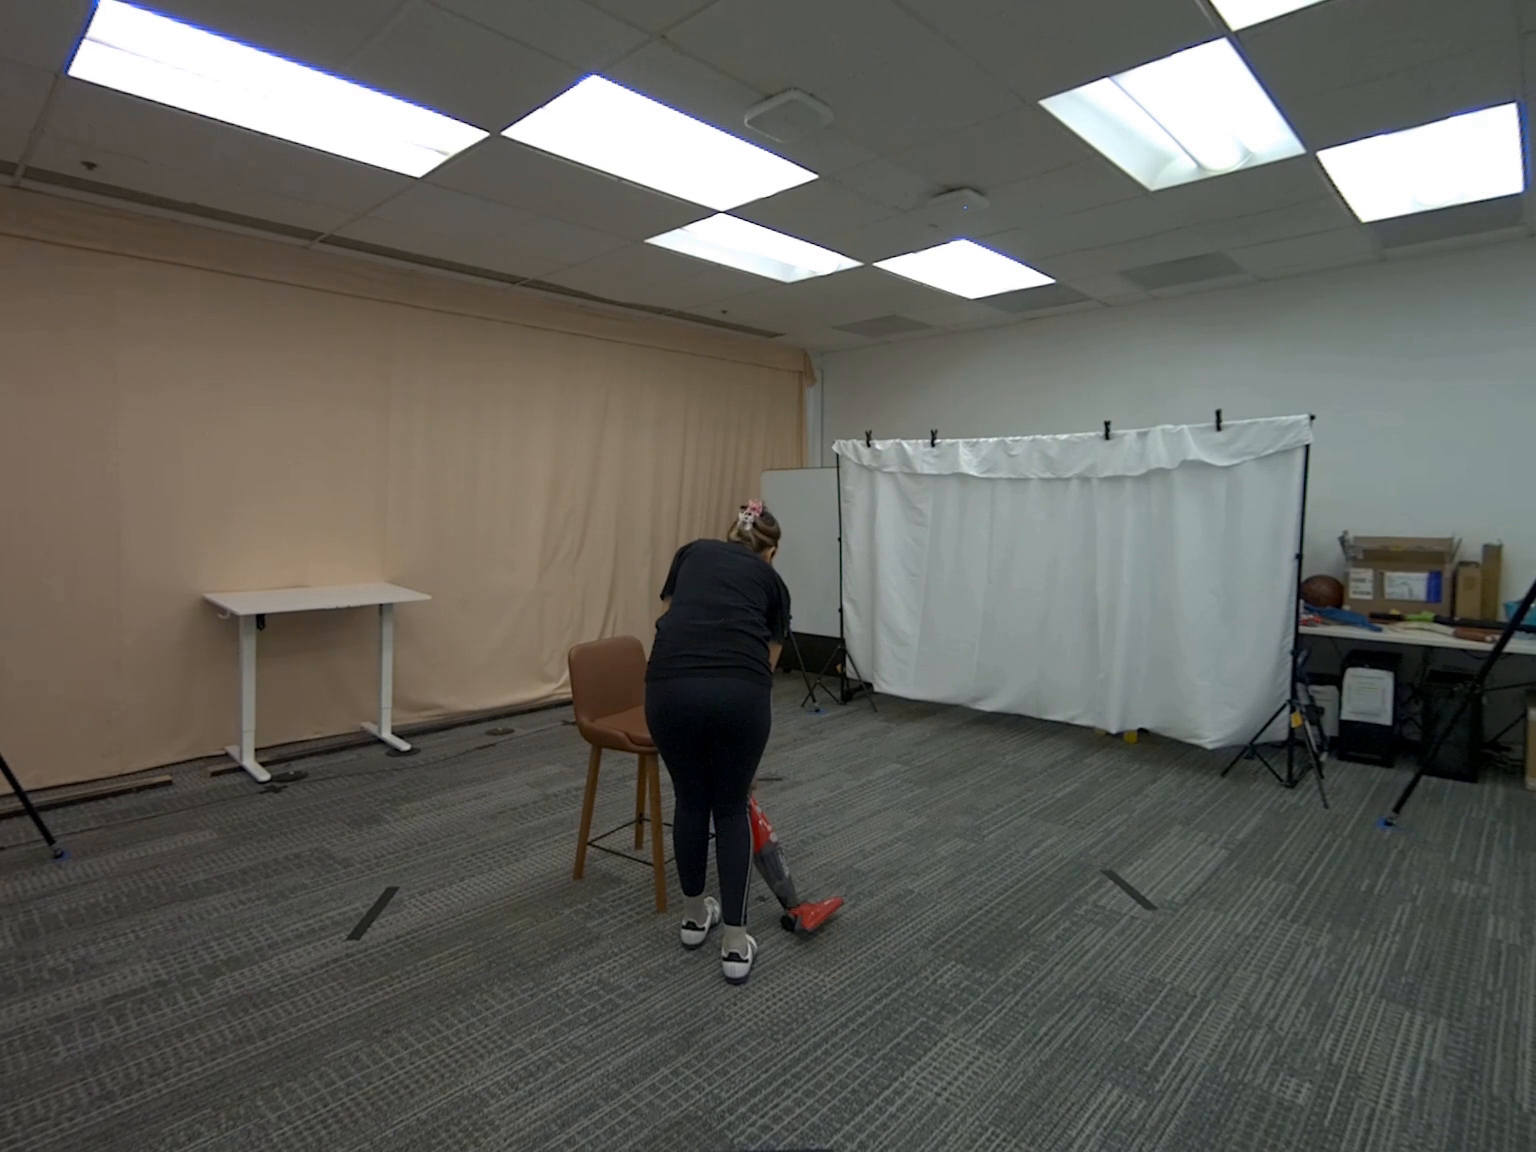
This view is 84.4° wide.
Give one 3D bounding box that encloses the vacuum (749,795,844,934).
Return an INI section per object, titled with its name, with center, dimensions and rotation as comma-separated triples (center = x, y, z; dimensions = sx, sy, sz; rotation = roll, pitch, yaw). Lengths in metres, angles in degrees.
[vacuum]
center = -0.138, 0.725, 2.950
dimensions = 0.145, 1.072, 0.245
rotation = -46, -22, 28
